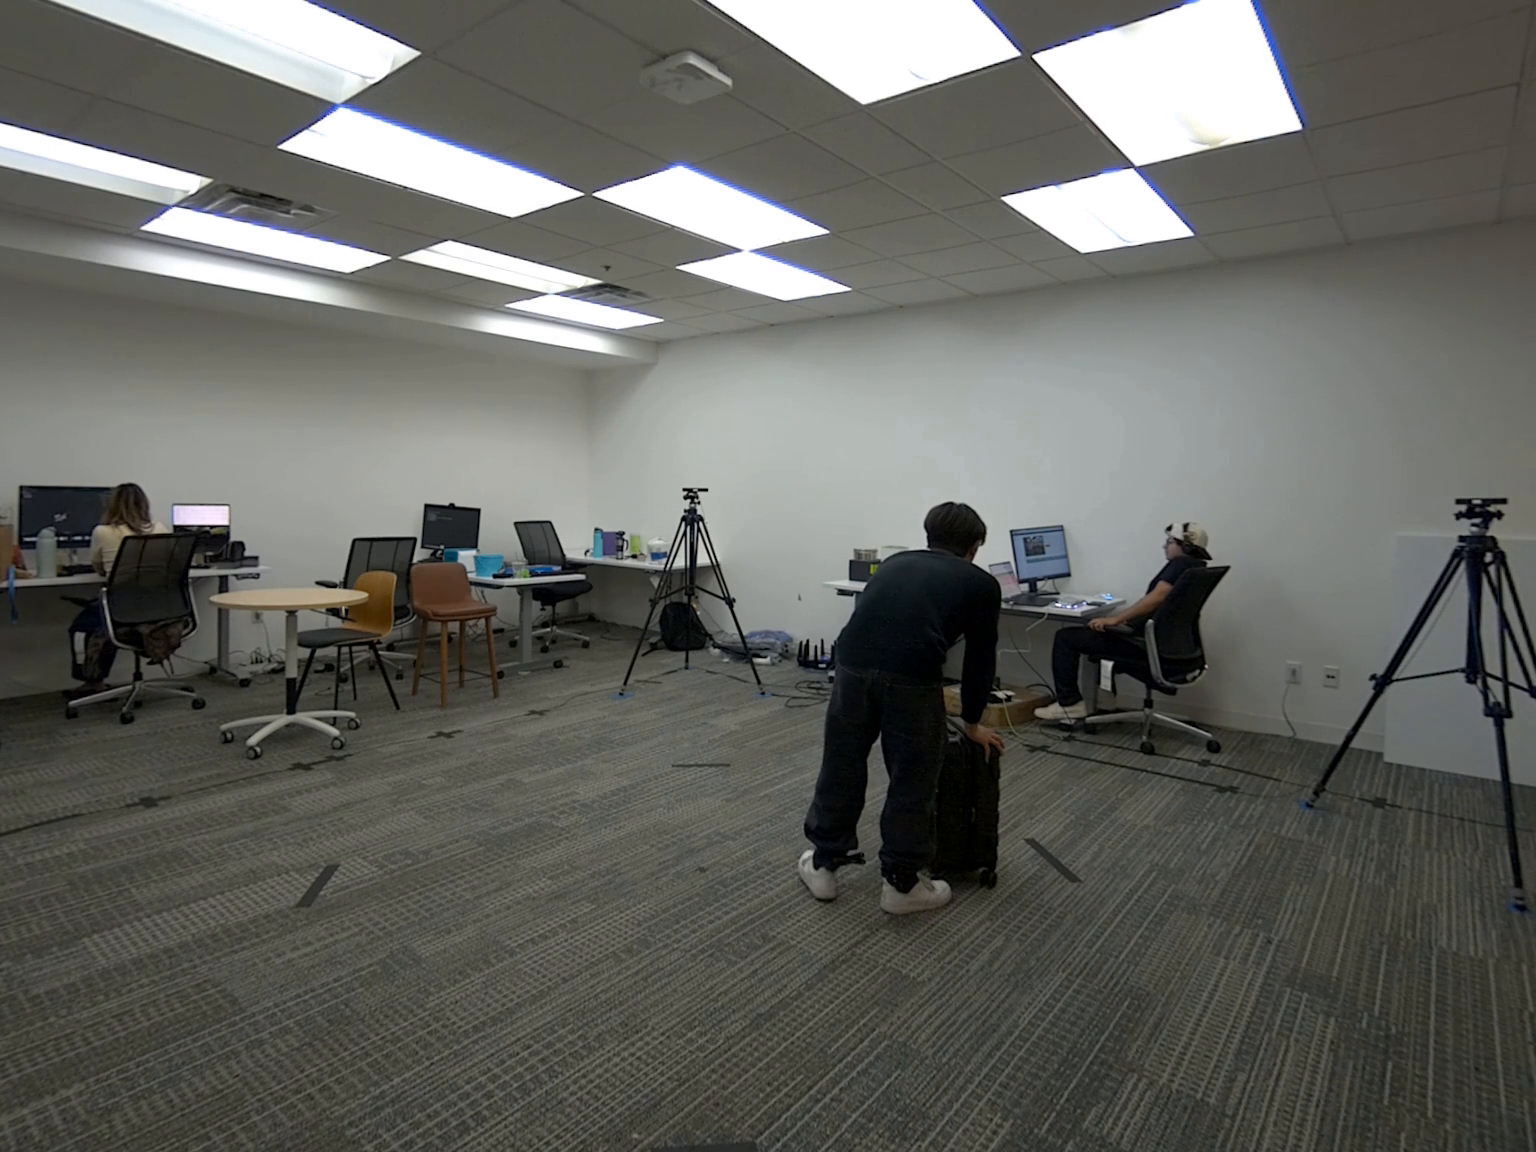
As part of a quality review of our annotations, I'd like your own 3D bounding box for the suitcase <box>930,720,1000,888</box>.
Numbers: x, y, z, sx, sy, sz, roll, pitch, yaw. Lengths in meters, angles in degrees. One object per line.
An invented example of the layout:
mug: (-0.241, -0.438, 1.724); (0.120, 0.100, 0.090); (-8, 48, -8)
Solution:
suitcase: (0.674, 0.808, 3.171); (0.245, 0.548, 0.381); (1, 4, -12)
